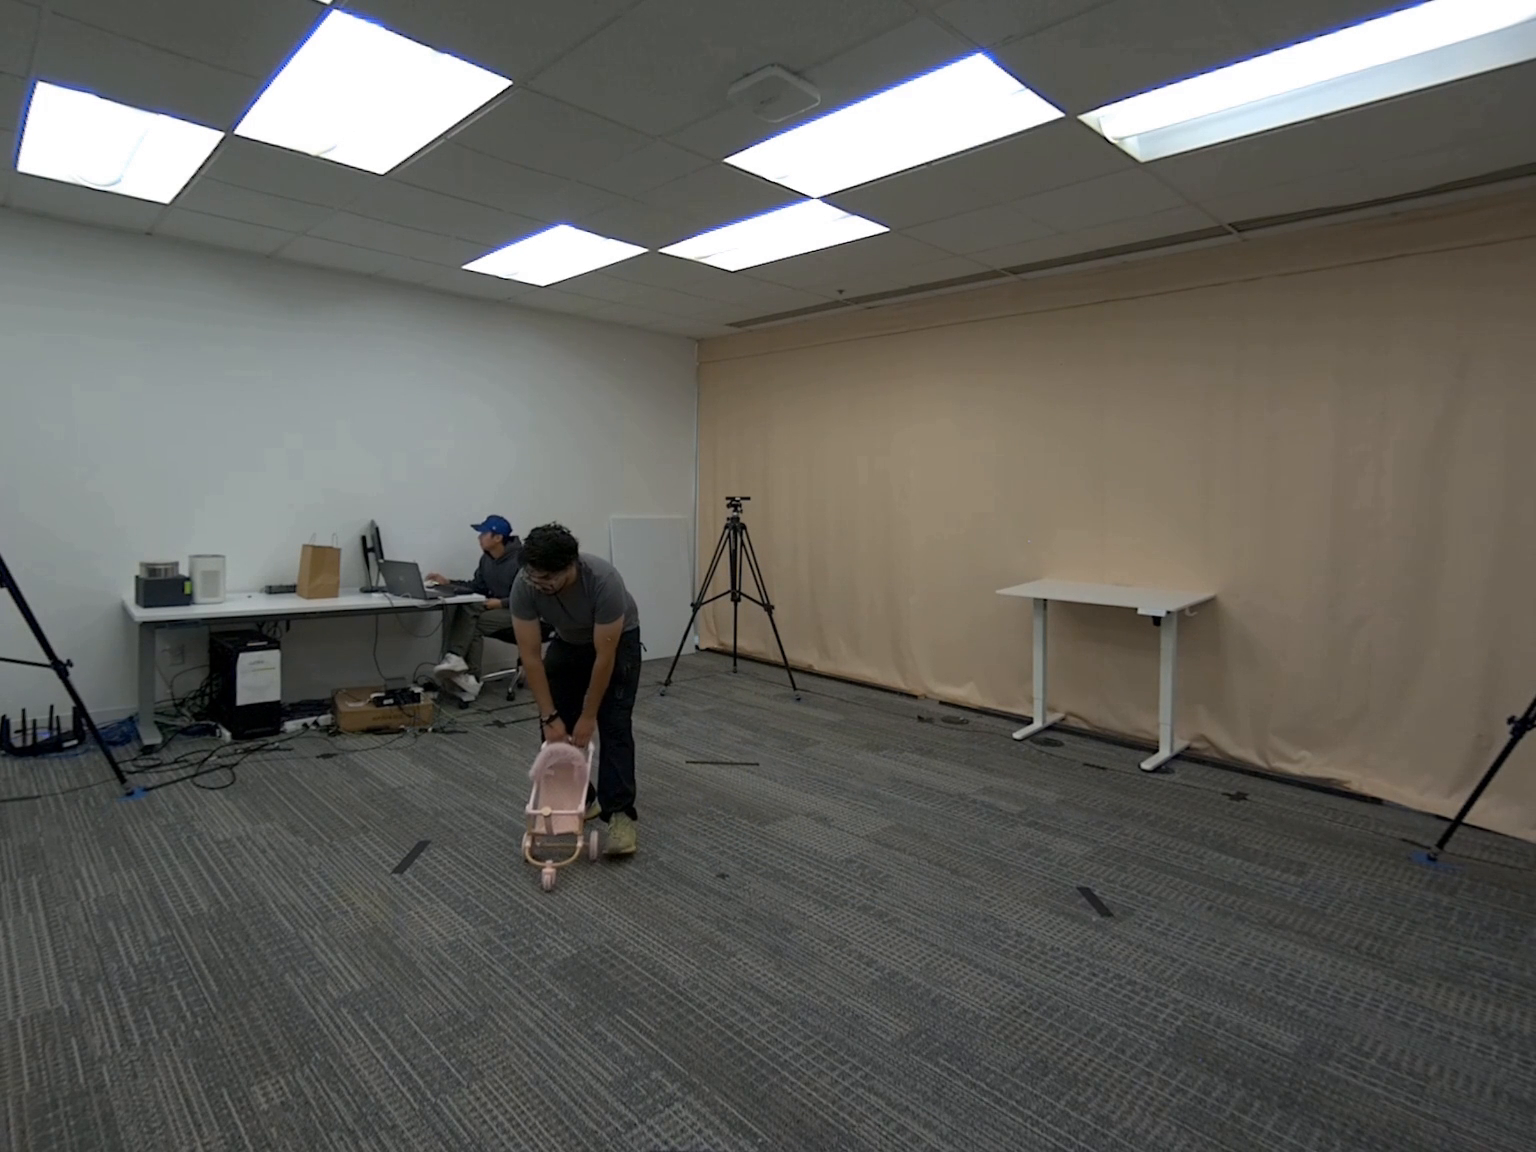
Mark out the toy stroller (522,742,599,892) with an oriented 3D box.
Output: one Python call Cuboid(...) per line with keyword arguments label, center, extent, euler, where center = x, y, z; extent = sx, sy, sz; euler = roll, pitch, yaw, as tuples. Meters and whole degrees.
Cuboid(label="toy stroller", center=(-0.792, 0.868, 3.136), extent=(0.281, 0.540, 0.338), euler=(1, -13, -1))
